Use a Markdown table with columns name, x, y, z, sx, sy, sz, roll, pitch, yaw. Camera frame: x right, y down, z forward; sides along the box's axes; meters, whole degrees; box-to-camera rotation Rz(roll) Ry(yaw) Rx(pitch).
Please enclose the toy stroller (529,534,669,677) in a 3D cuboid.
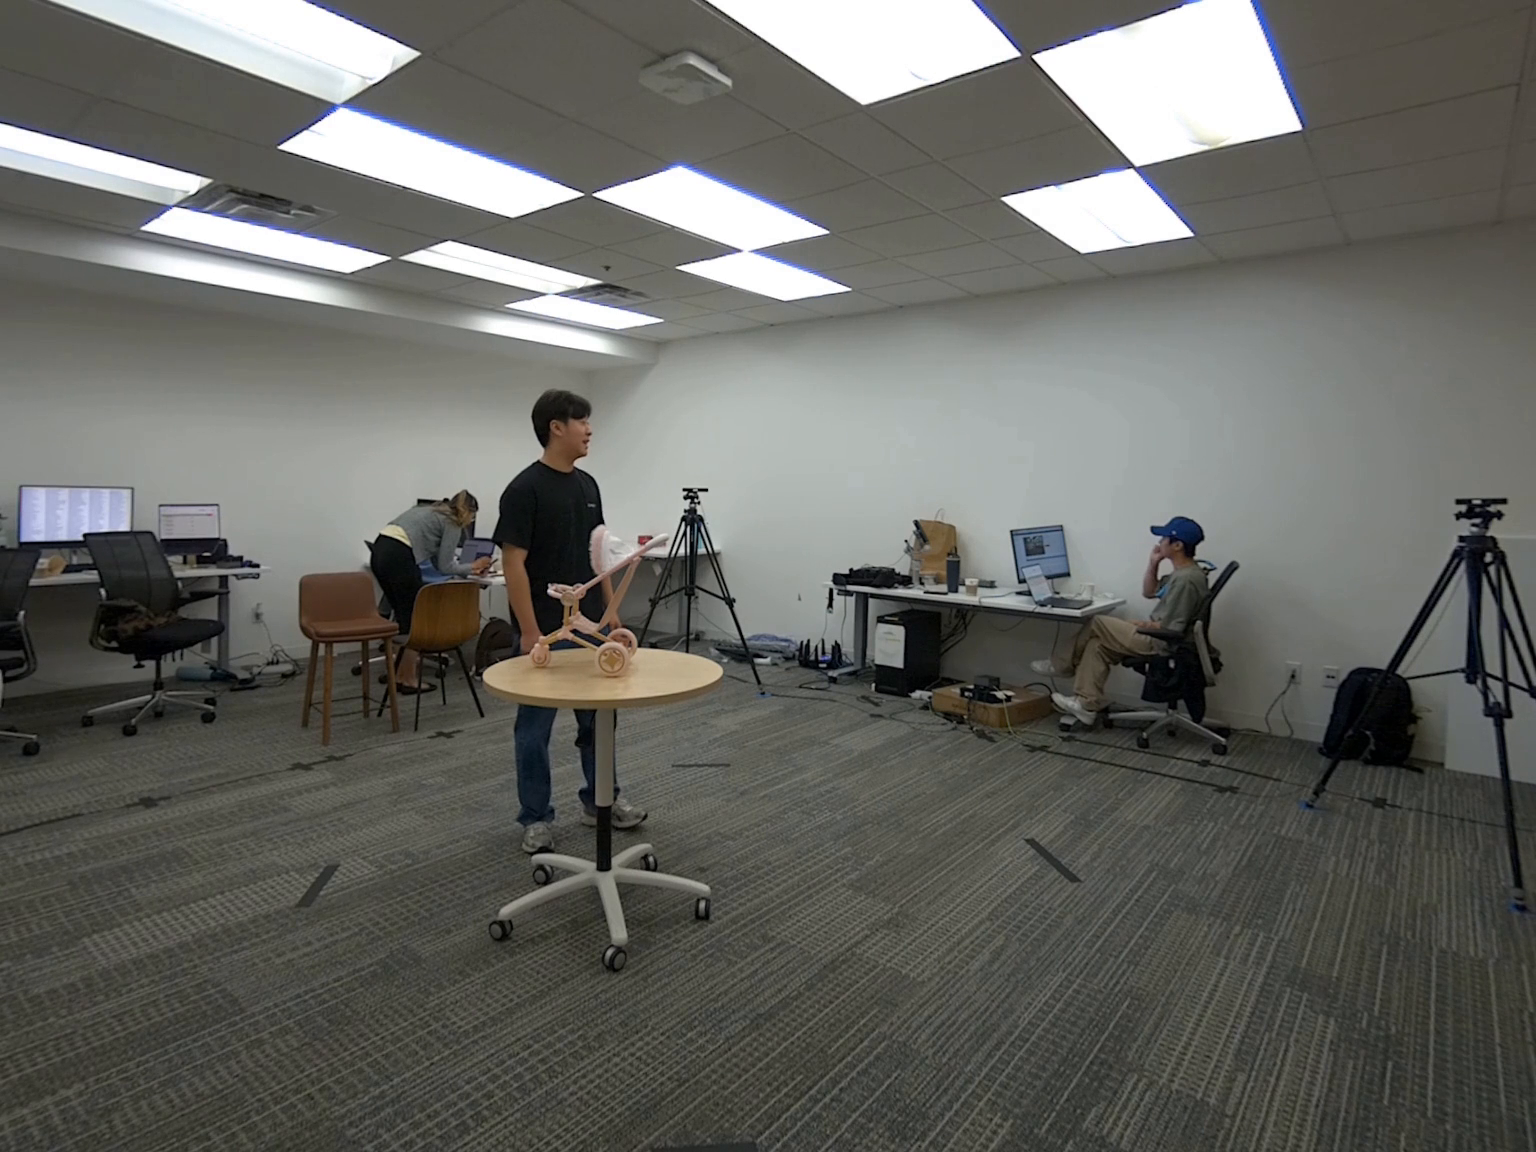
| name | x | y | z | sx | sy | sz | roll | pitch | yaw |
| --- | --- | --- | --- | --- | --- | --- | --- | --- | --- |
| toy stroller | -0.568 | 0.075 | 2.765 | 0.343 | 0.534 | 0.281 | 15 | 4 | 2 |
